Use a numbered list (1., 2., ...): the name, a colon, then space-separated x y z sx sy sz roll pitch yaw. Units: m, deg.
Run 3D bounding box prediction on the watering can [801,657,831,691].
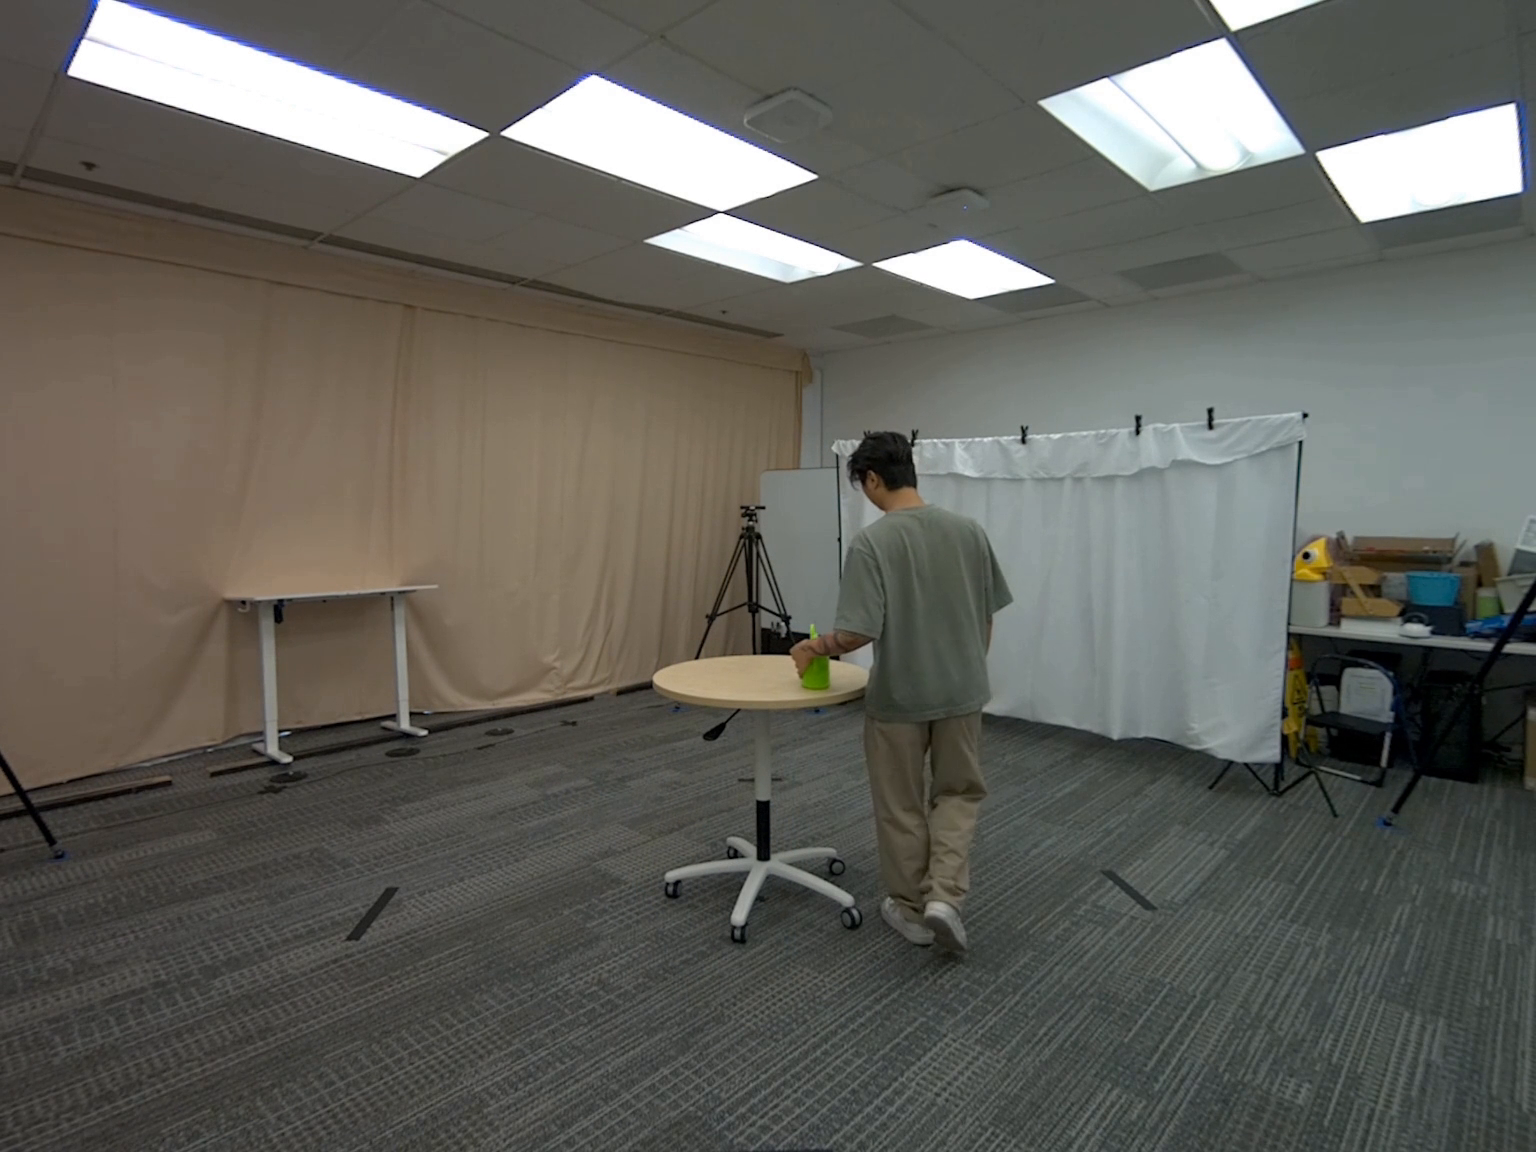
1. watering can: 0.182 0.275 2.804 0.100 0.176 0.272 2 6 26
